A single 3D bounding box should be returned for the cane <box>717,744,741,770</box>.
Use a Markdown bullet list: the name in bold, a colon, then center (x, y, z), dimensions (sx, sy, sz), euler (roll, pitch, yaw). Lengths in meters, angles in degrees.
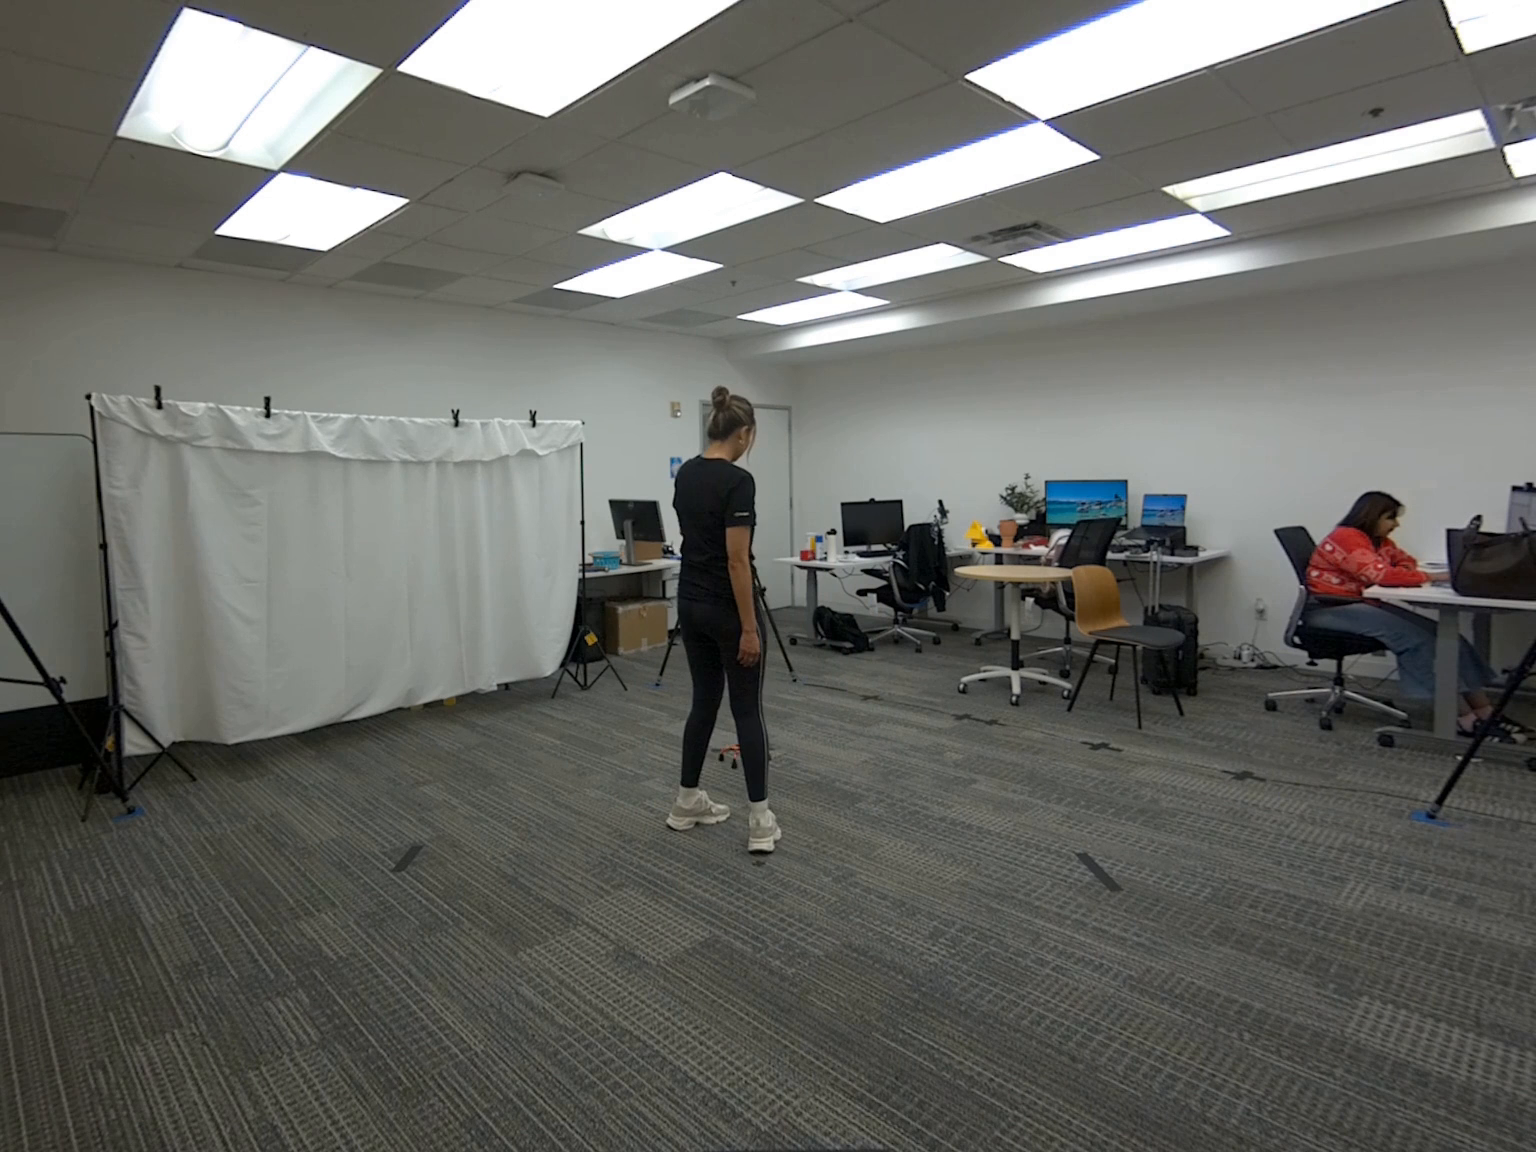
- **cane**: center (-0.119, 0.398, 3.865), dimensions (0.201, 0.904, 0.156), euler (-4, 5, -32)
